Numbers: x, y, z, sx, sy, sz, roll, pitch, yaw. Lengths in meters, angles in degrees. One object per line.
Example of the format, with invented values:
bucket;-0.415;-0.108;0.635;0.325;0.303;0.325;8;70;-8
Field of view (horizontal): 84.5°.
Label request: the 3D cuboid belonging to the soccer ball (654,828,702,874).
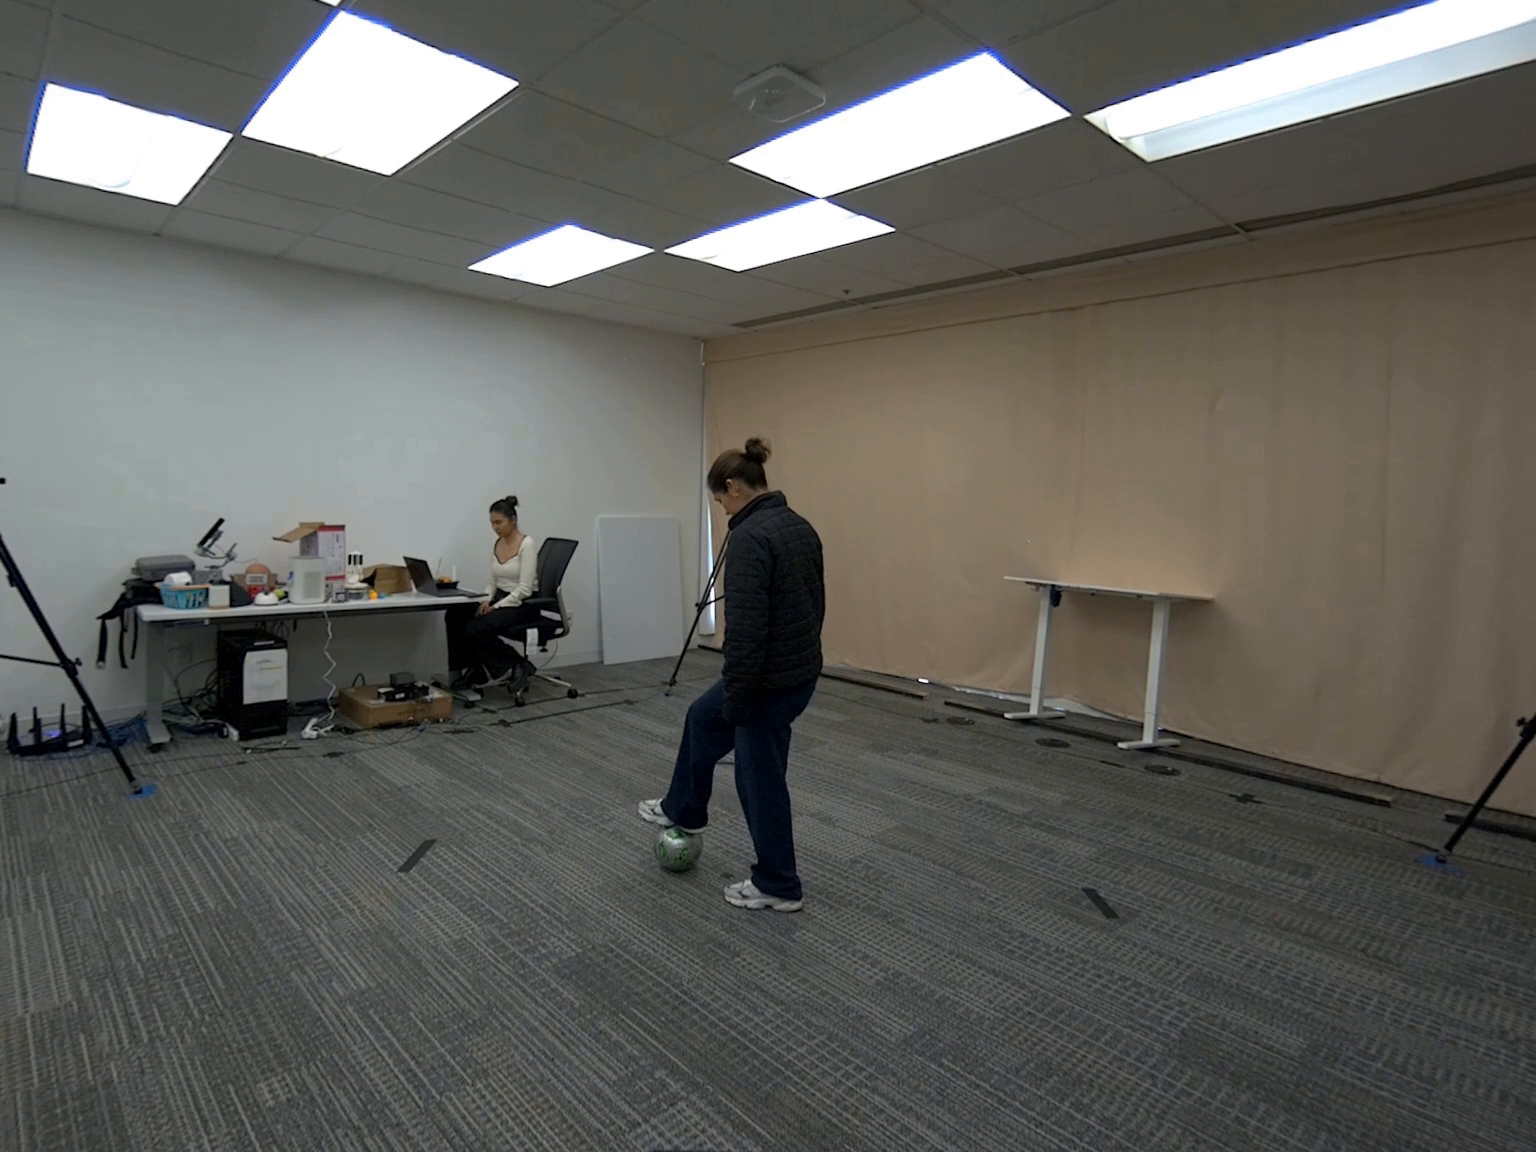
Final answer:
soccer ball;-0.339;1.007;3.154;0.187;0.187;0.188;1;4;-1
